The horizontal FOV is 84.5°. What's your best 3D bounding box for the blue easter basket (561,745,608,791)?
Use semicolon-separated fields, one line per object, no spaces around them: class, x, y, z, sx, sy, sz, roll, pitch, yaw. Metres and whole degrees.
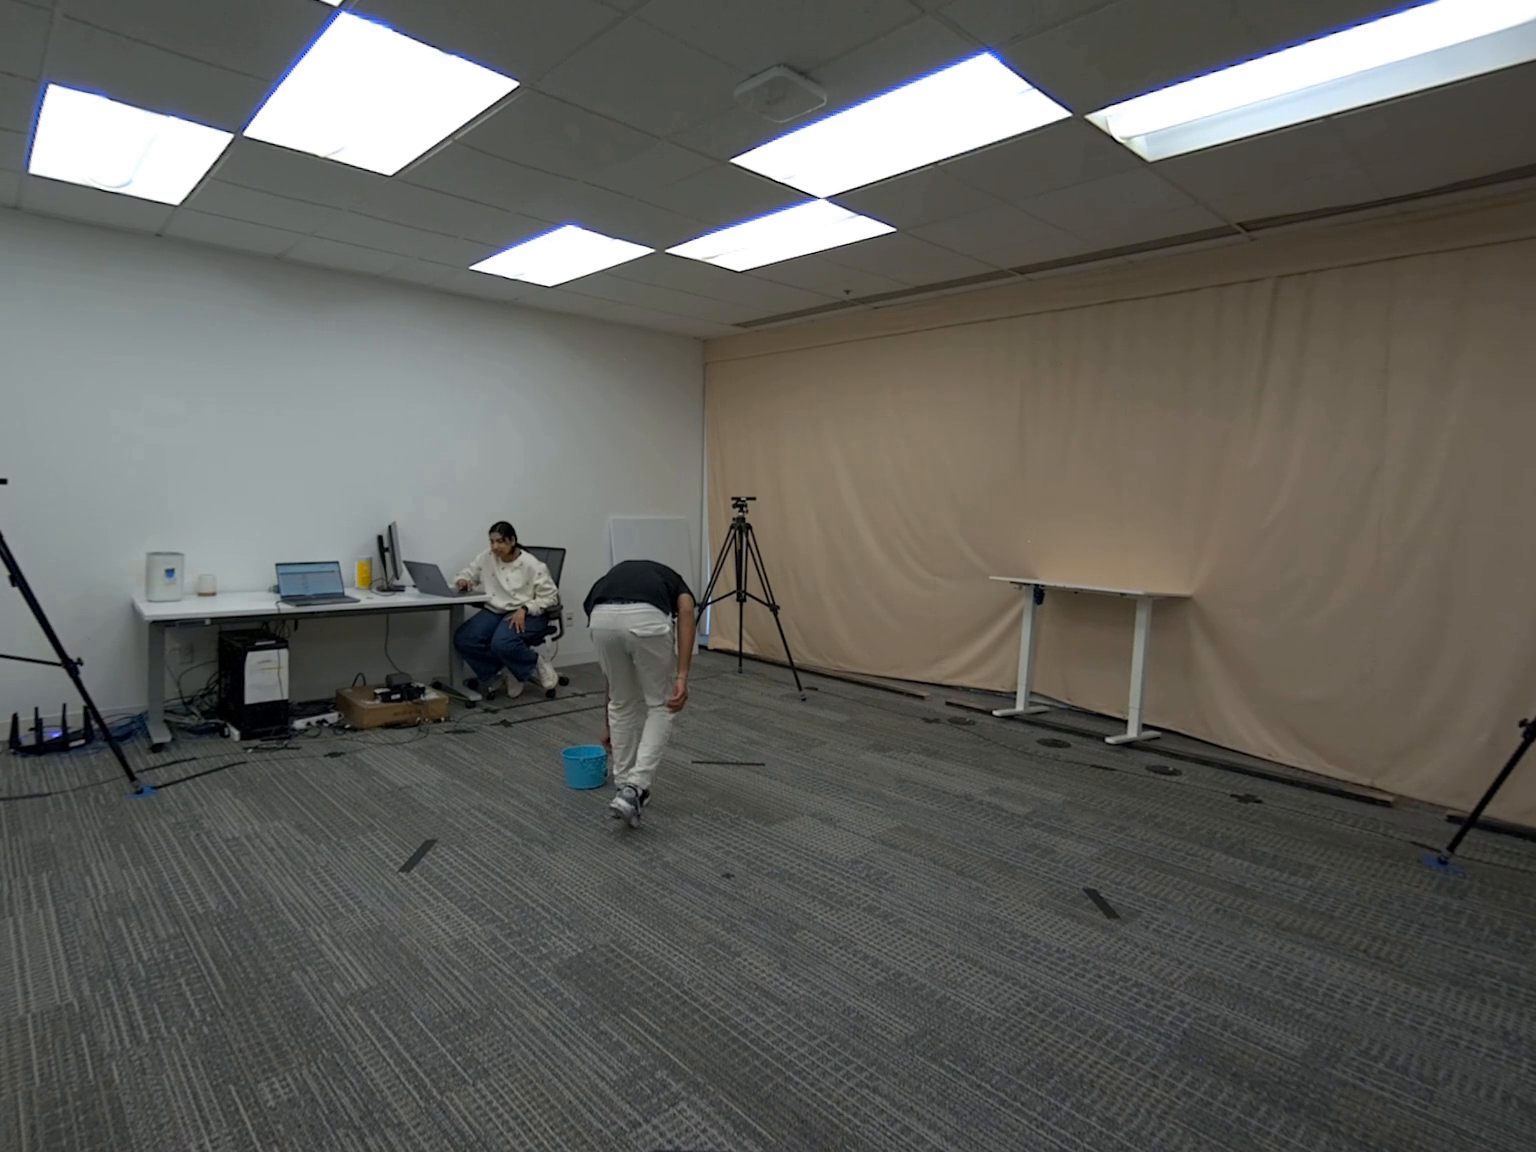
blue easter basket;-0.891;0.923;4.067;0.243;0.155;0.244;0;5;-1
